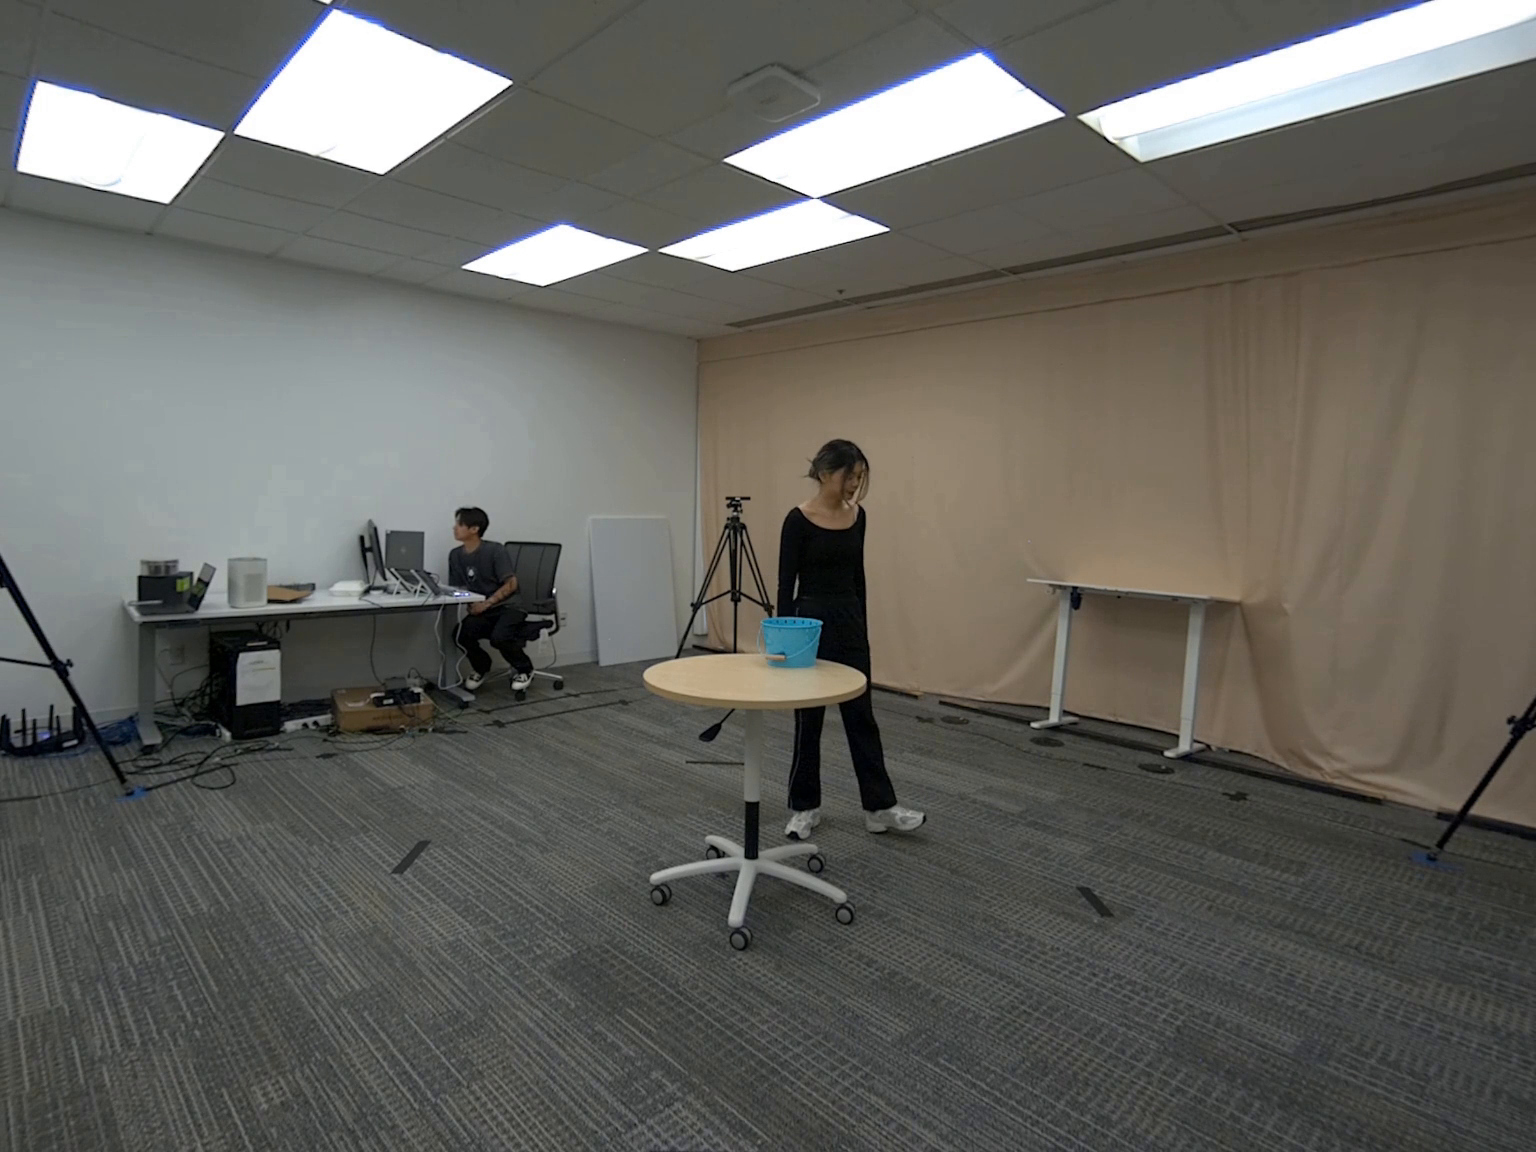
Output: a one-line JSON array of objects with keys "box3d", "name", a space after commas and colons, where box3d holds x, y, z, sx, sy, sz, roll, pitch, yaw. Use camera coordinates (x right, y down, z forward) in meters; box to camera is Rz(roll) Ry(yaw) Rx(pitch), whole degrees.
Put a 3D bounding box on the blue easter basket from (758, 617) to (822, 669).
[{"box3d": [0.068, 0.250, 3.126, 0.243, 0.155, 0.244, 1, 3, -1], "name": "blue easter basket"}]
